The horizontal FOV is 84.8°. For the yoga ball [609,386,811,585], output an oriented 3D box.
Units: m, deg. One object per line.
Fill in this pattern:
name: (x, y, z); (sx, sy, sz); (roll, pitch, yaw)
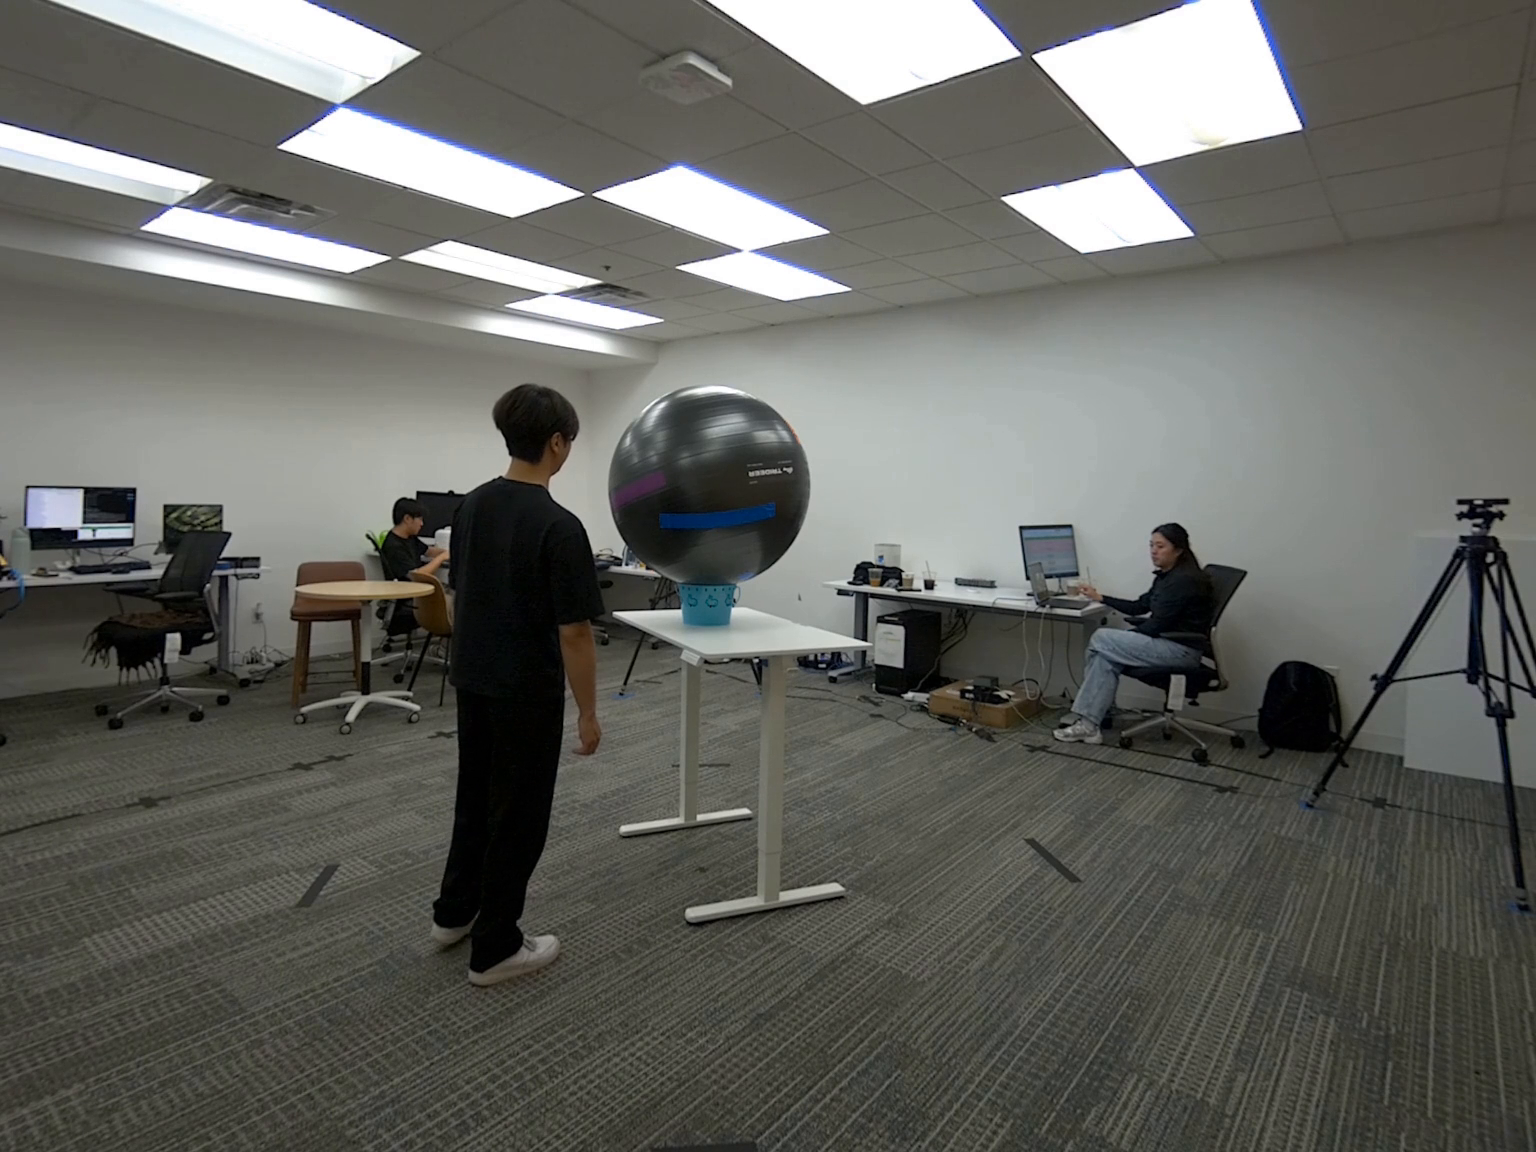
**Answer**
yoga ball: (-0.236, -0.338, 3.220); (0.757, 0.756, 0.762); (1, 4, -2)
